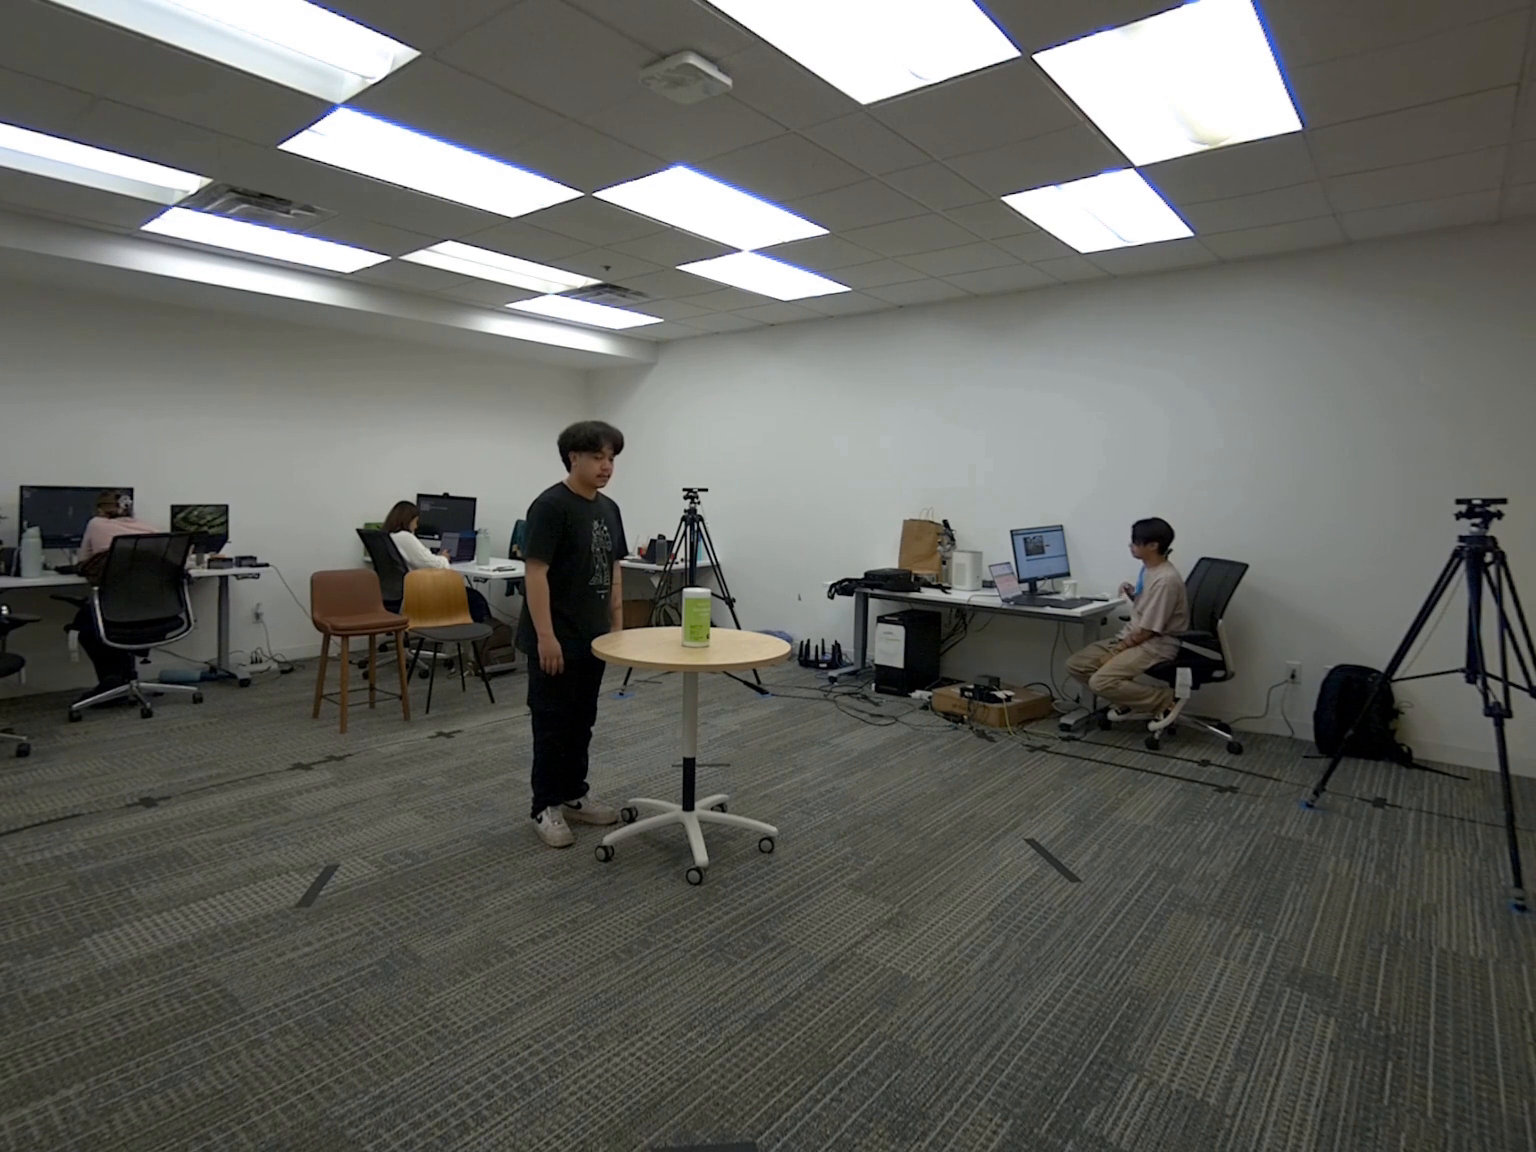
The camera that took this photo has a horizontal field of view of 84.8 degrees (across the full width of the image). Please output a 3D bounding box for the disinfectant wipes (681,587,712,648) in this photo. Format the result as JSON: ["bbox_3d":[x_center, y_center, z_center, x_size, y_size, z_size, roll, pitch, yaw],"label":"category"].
[{"bbox_3d":[-0.284,0.157,3.246,0.117,0.216,0.118,2,4,-2],"label":"disinfectant wipes"}]
